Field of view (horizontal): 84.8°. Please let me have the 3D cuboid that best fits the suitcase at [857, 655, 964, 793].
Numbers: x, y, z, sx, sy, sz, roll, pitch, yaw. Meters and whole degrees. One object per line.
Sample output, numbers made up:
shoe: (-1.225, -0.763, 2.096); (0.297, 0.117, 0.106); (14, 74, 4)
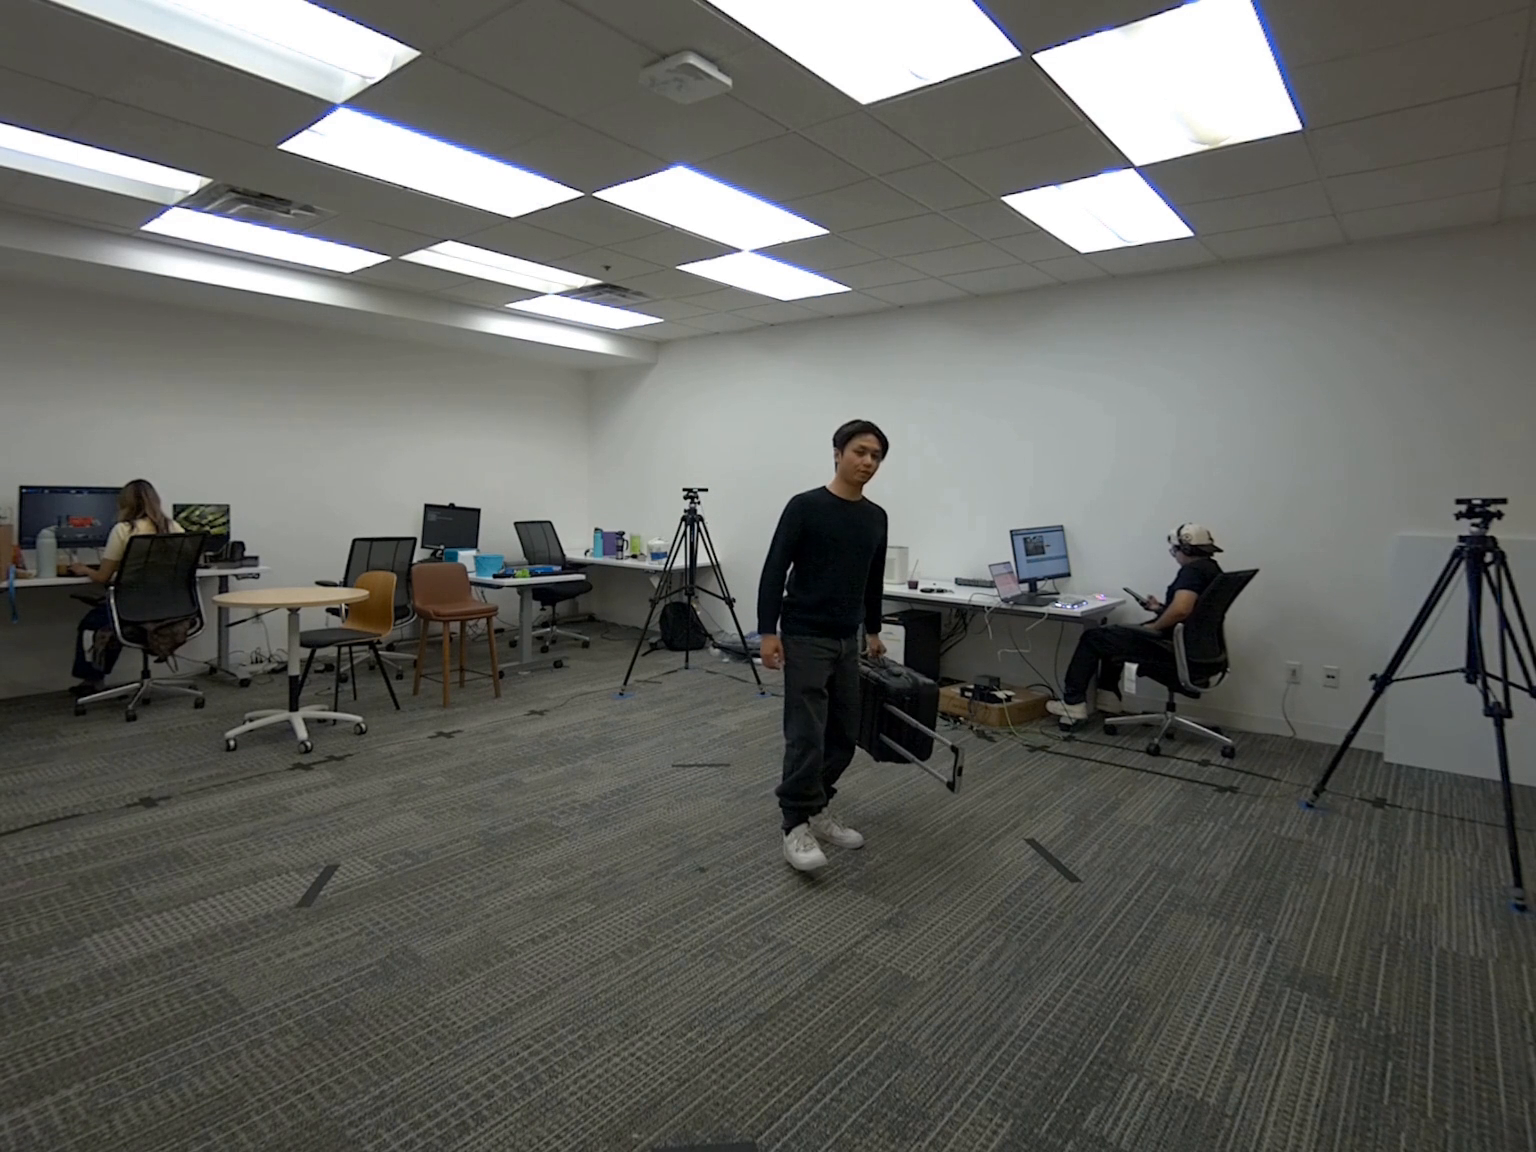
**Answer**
suitcase: (0.539, 0.567, 3.382); (0.251, 0.382, 1.006); (3, 6, -24)
